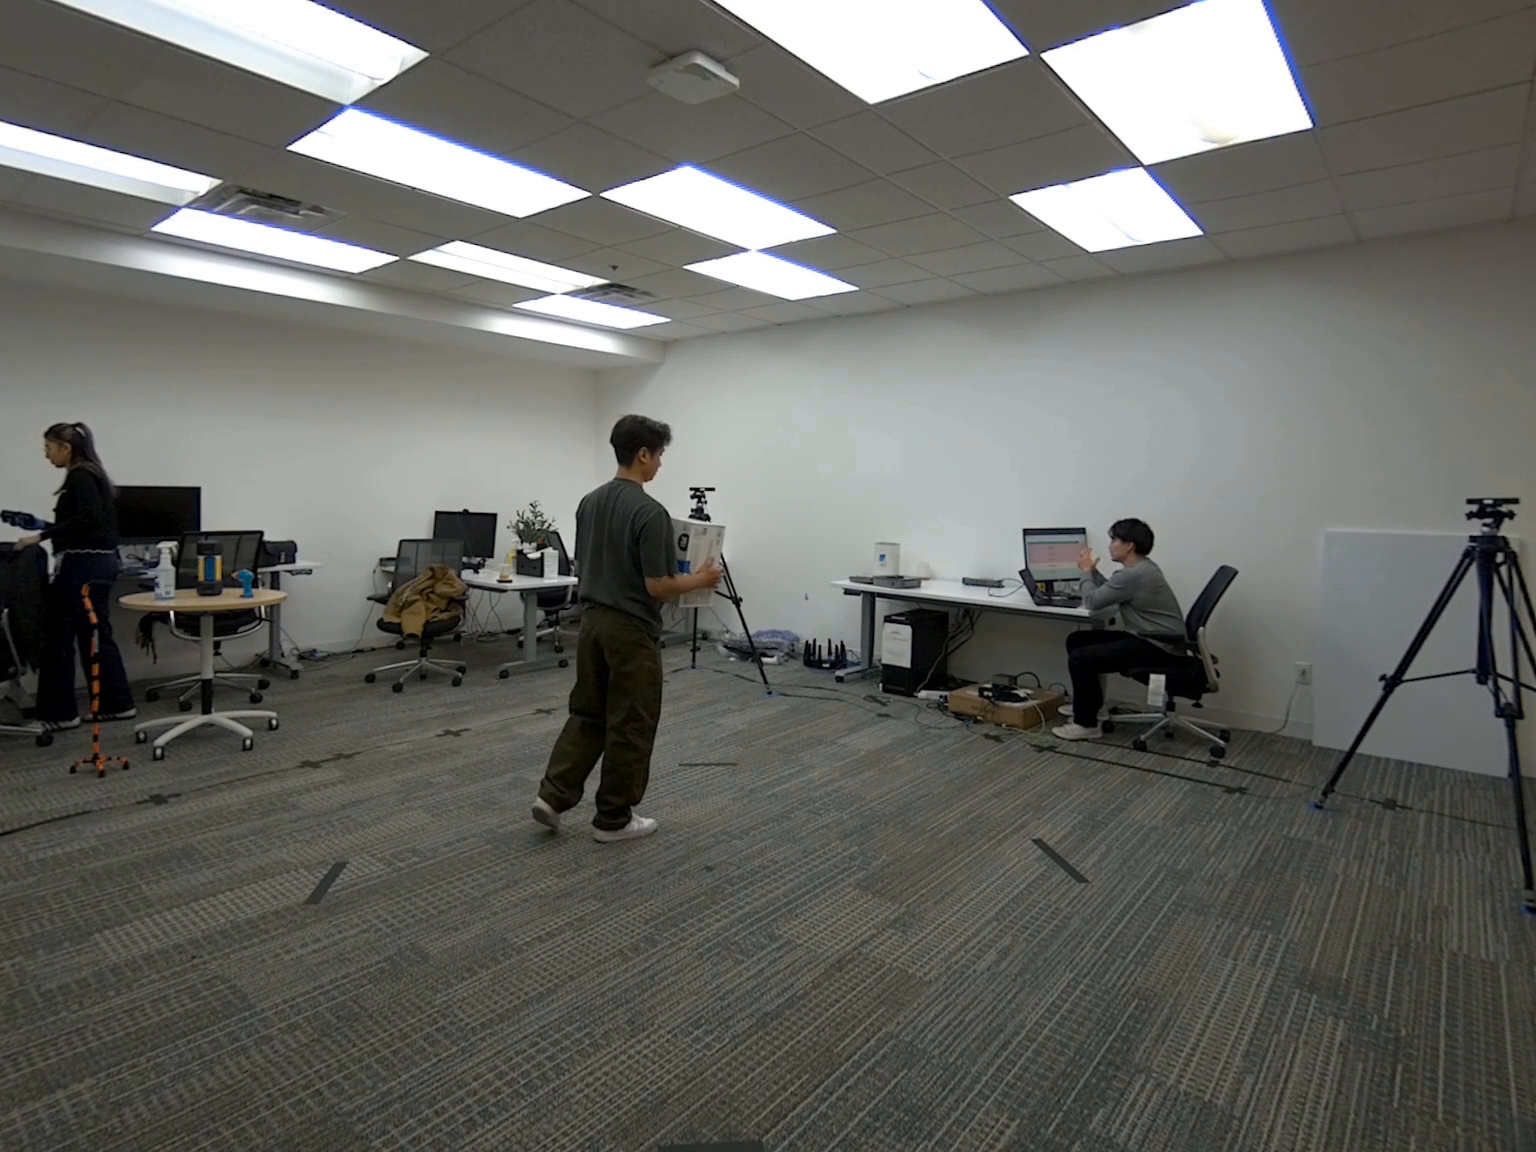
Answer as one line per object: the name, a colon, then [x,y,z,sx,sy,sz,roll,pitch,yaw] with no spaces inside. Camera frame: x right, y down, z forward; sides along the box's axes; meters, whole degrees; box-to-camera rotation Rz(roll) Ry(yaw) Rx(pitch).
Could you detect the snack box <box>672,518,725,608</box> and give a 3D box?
snack box: [-0.423,-0.080,3.531,0.420,0.339,0.199,14,7,41]
